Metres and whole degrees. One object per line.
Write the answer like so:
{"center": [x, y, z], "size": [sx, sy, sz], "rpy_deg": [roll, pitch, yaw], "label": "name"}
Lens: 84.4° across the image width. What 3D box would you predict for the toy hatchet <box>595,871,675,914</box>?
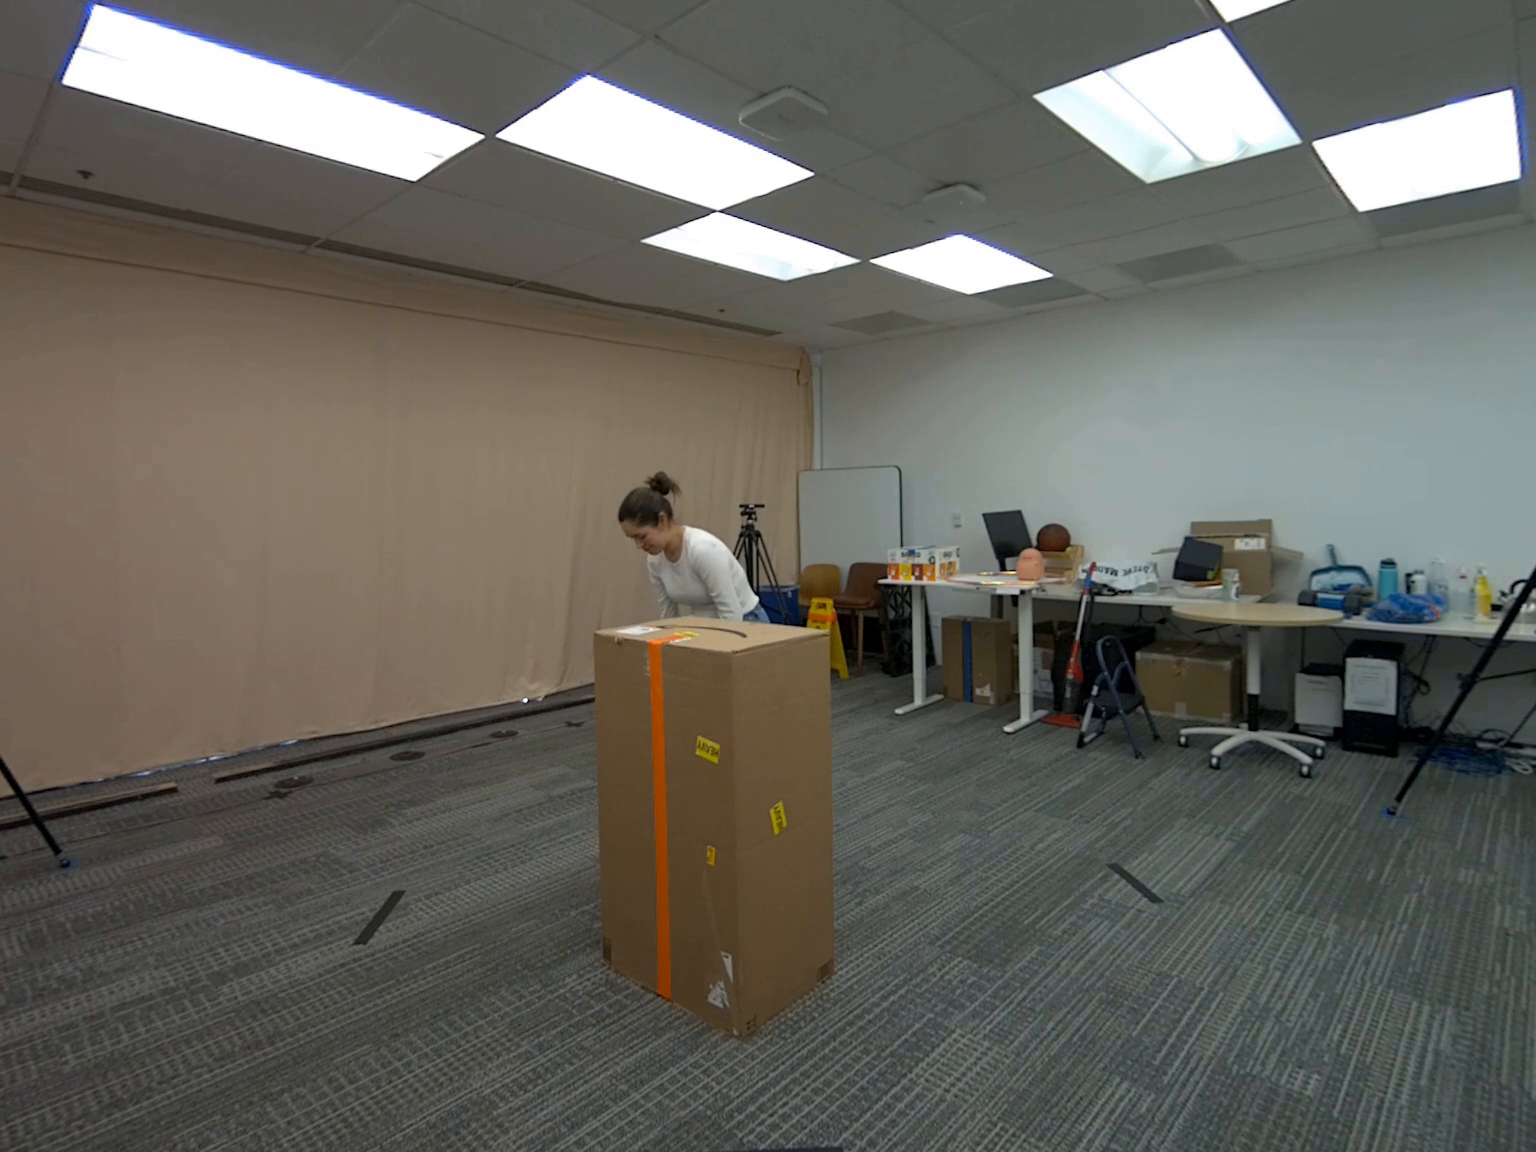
{"center": [-0.478, 1.133, 3.049], "size": [0.135, 0.029, 0.262], "rpy_deg": [0, 2, 38], "label": "toy hatchet"}
